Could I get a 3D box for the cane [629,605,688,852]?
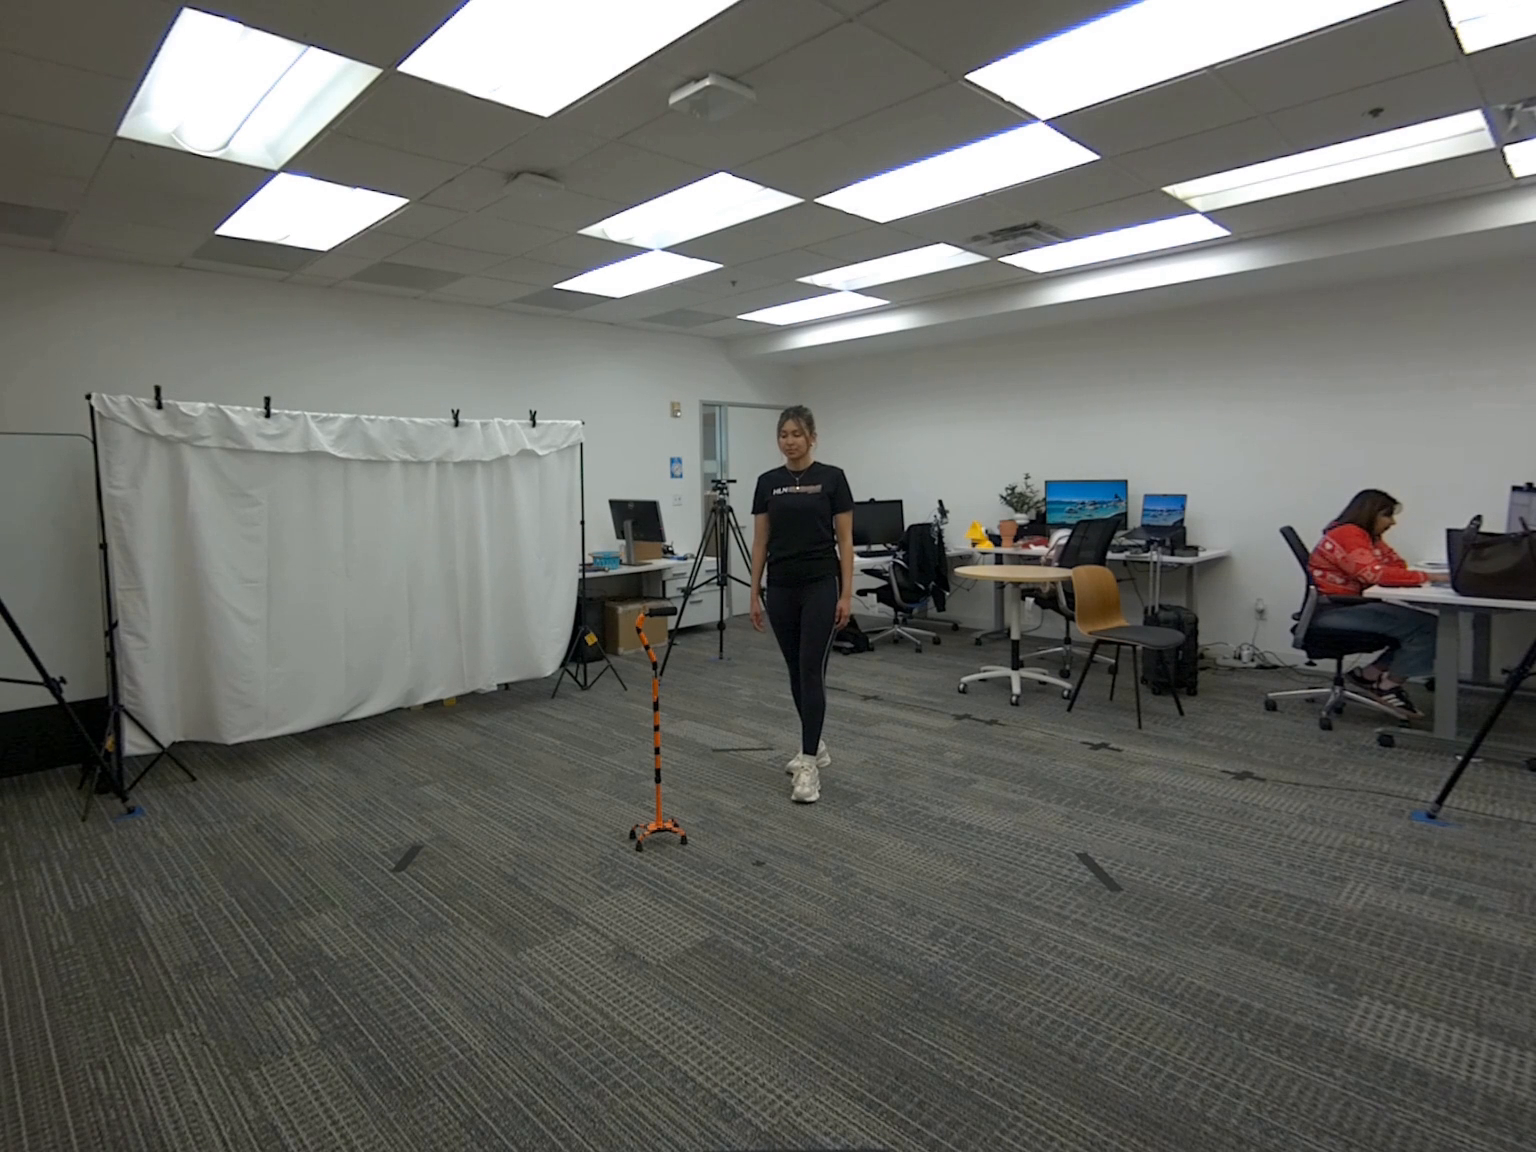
[{"bbox_3d":[-0.435,0.581,3.298,0.203,0.904,0.154,-2,4,-16],"label":"cane"}]
